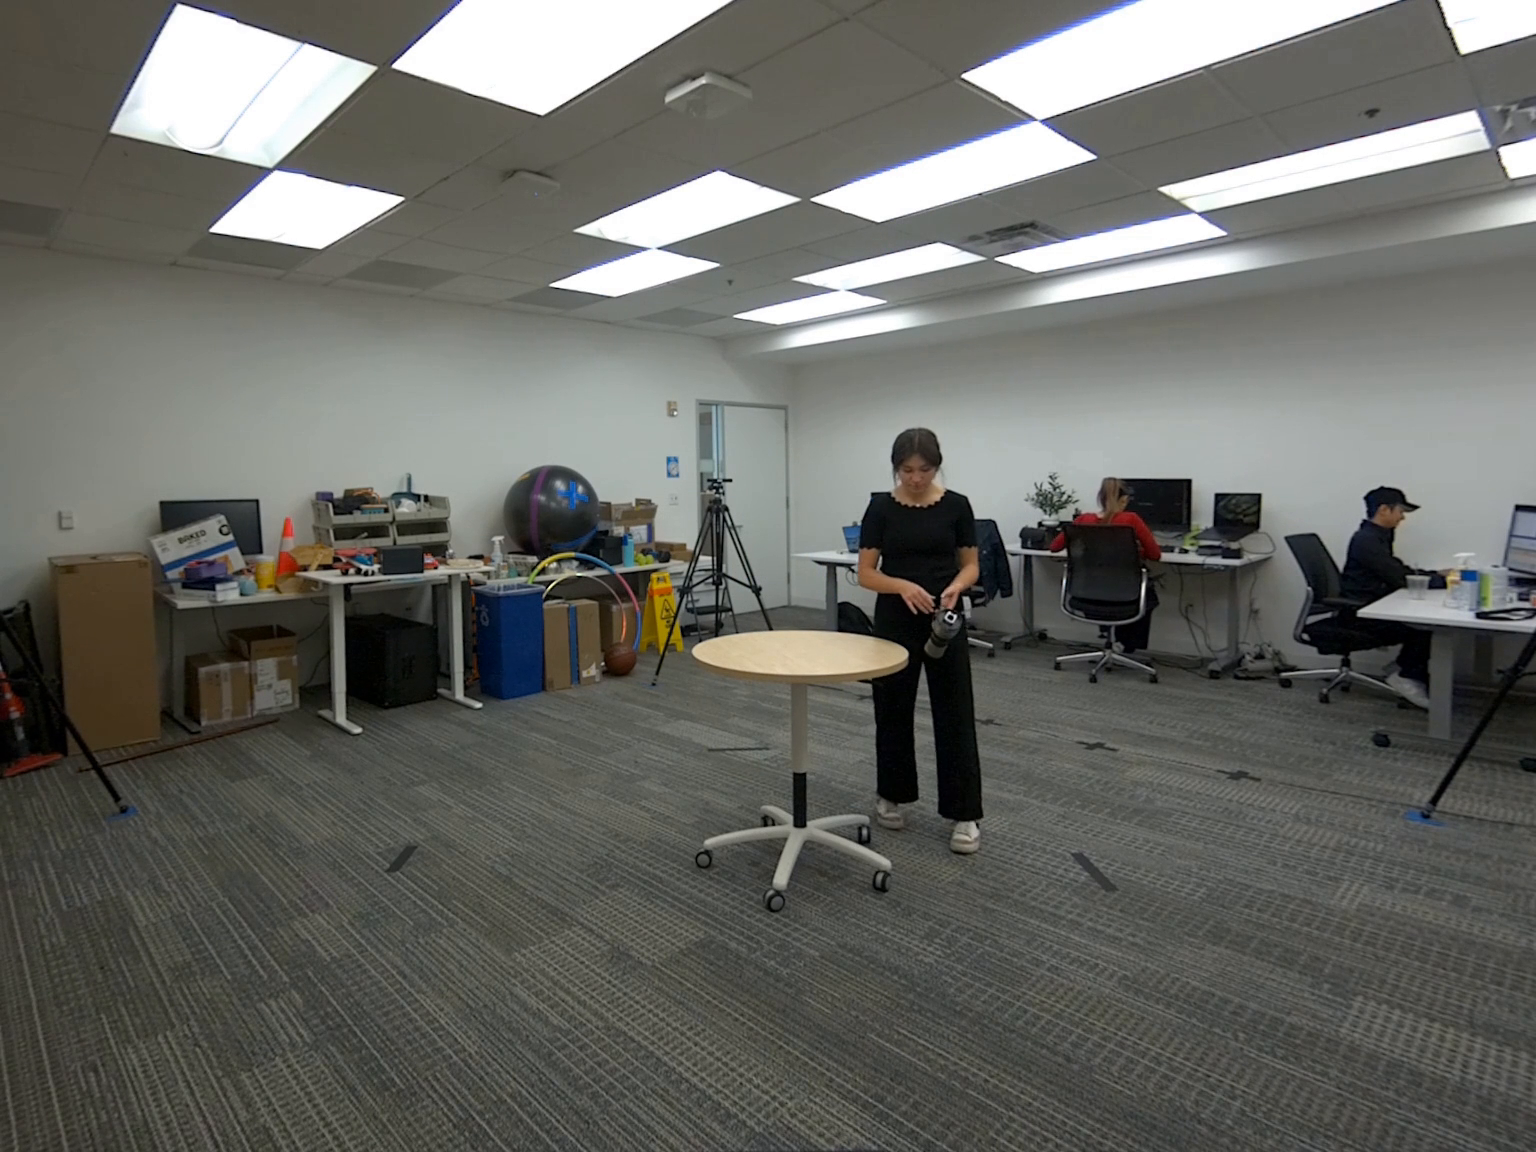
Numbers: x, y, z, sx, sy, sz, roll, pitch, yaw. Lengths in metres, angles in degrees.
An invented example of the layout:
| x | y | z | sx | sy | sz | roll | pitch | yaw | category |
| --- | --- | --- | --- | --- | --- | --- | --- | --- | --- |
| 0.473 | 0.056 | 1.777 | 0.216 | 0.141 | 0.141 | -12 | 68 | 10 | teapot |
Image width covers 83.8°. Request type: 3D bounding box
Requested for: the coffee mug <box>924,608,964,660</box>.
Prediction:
| x | y | z | sx | sy | sz | roll | pitch | yaw | category |
| --- | --- | --- | --- | --- | --- | --- | --- | --- | --- |
| 0.639 | 0.203 | 3.097 | 0.091 | 0.198 | 0.121 | 38 | 57 | 25 | coffee mug |
